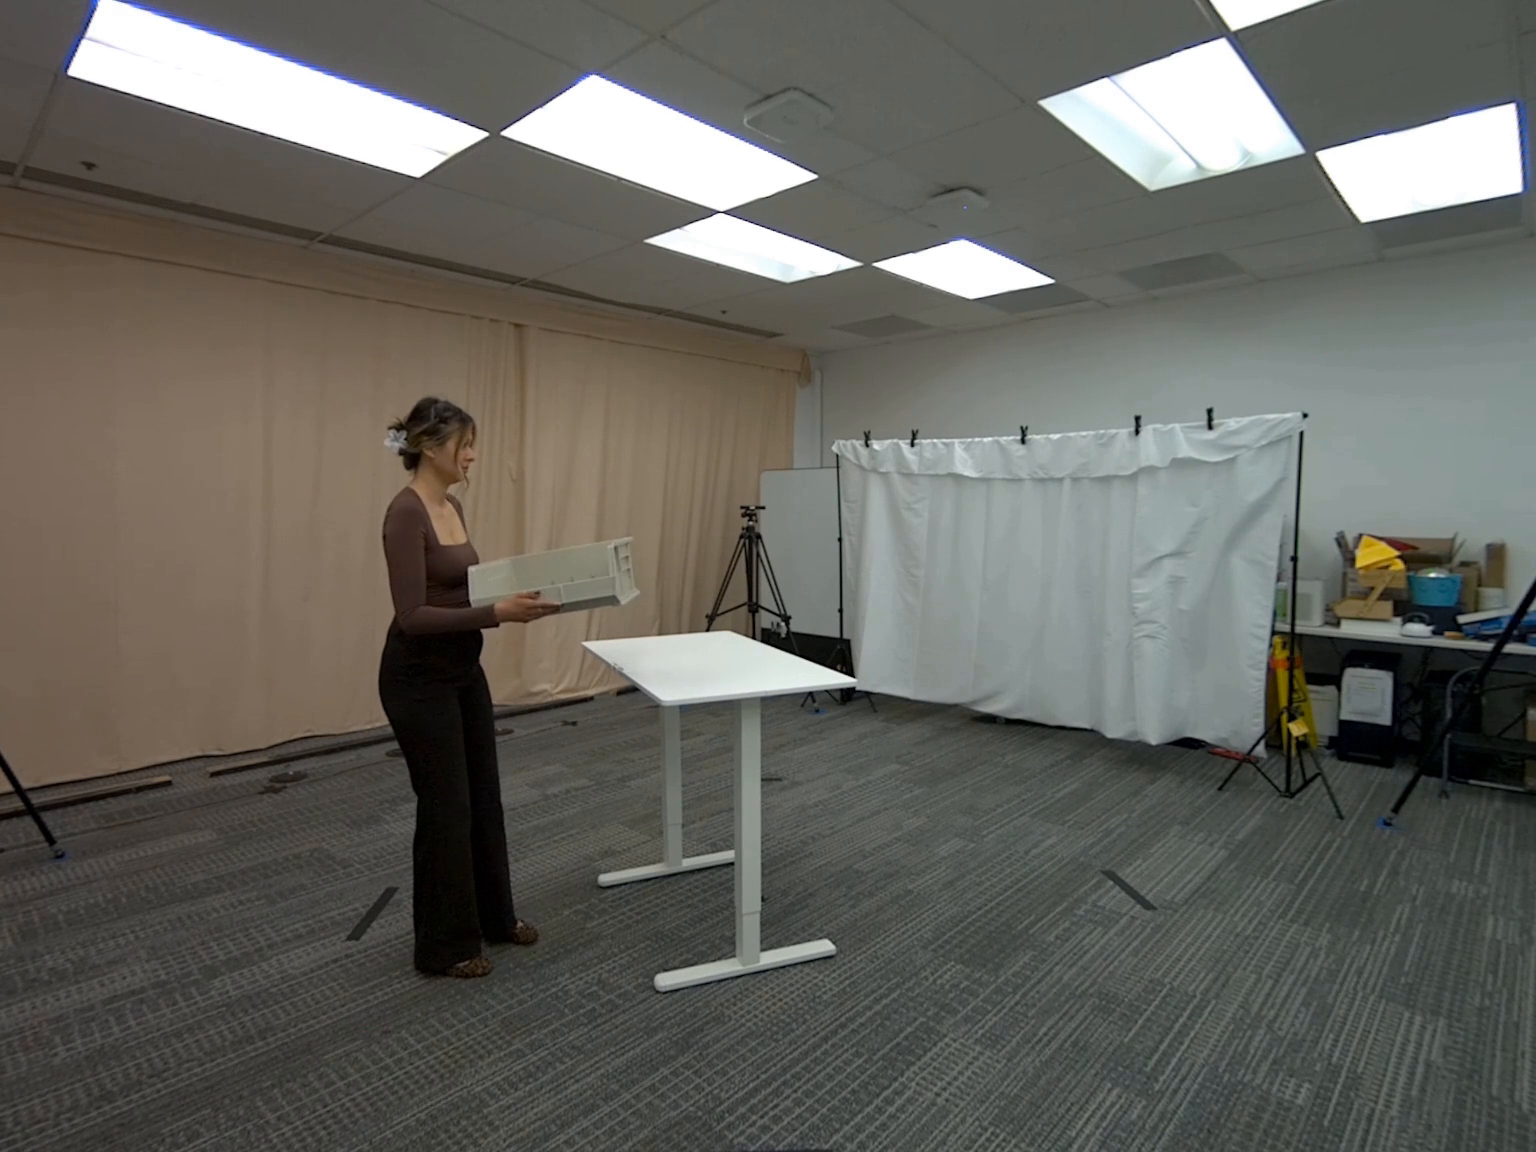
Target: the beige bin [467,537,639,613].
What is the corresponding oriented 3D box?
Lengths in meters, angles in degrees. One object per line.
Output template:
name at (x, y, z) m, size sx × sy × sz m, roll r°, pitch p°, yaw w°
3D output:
beige bin at (-0.621, 0.014, 2.507) m, size 0.424 × 0.188 × 0.377 m, roll -10°, pitch 4°, yaw 2°
